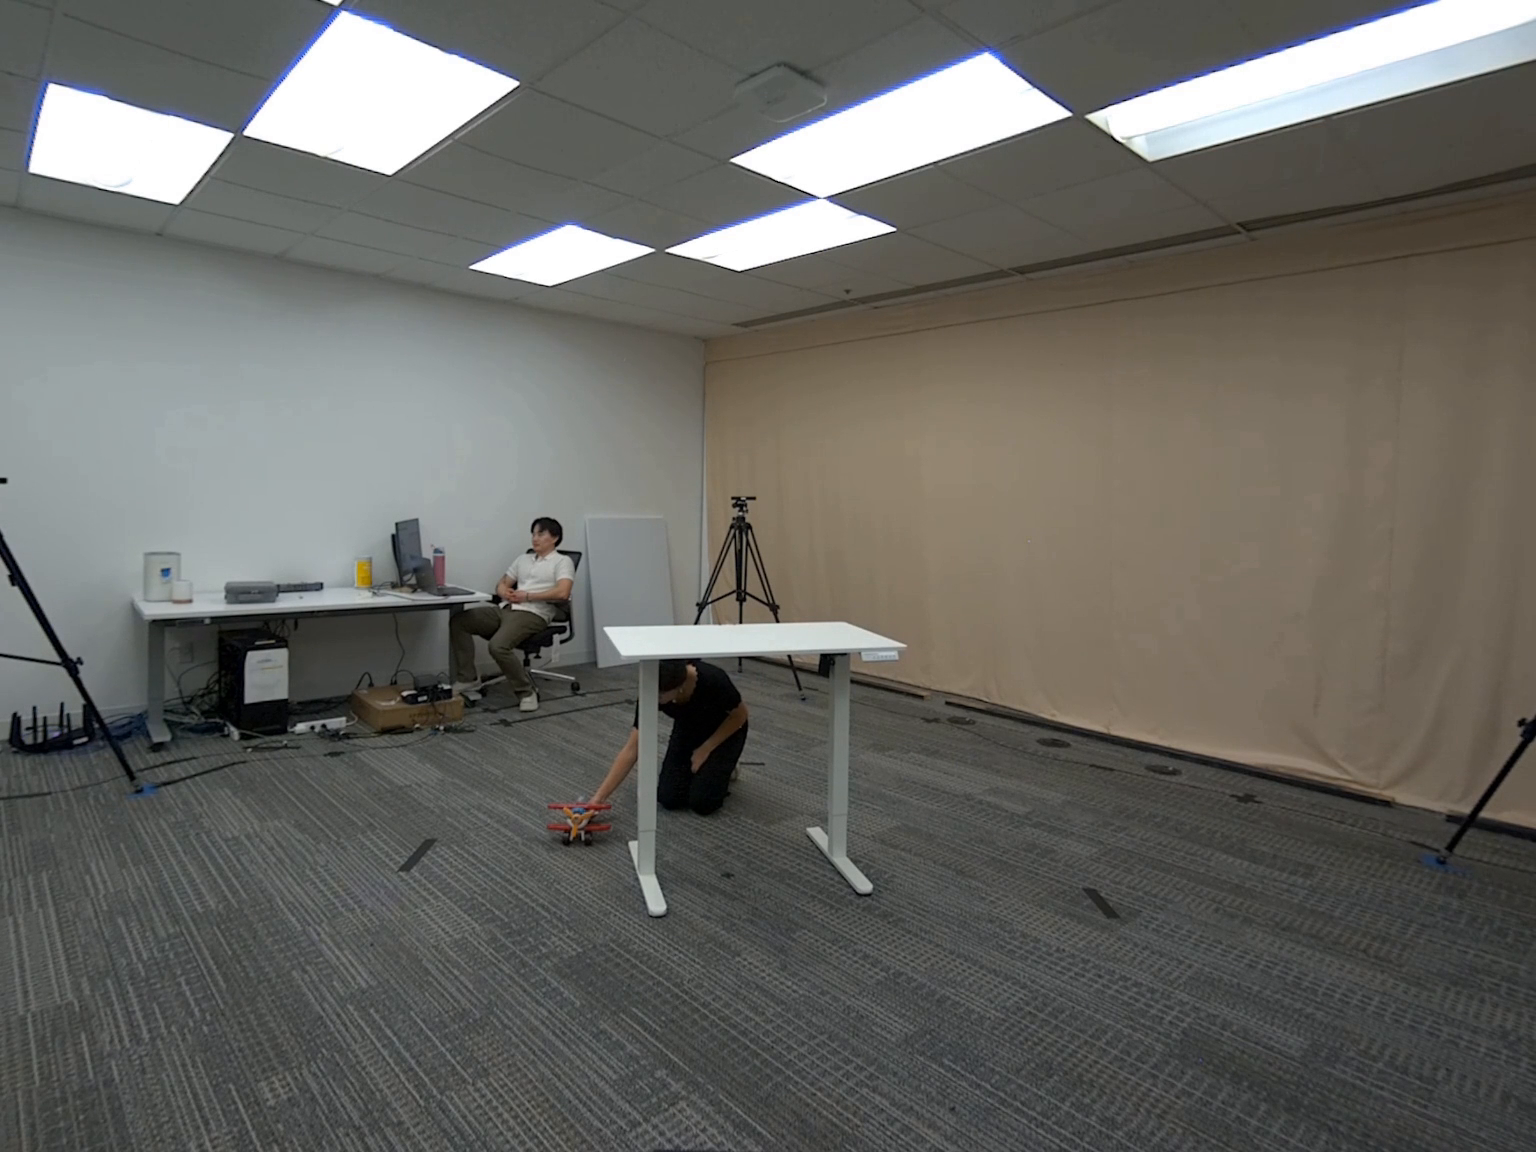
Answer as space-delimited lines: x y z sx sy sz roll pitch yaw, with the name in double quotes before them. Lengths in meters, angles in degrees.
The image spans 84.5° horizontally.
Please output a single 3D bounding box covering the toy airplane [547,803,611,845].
"toy airplane" -0.789 0.988 3.423 0.246 0.156 0.265 -1 6 -32
